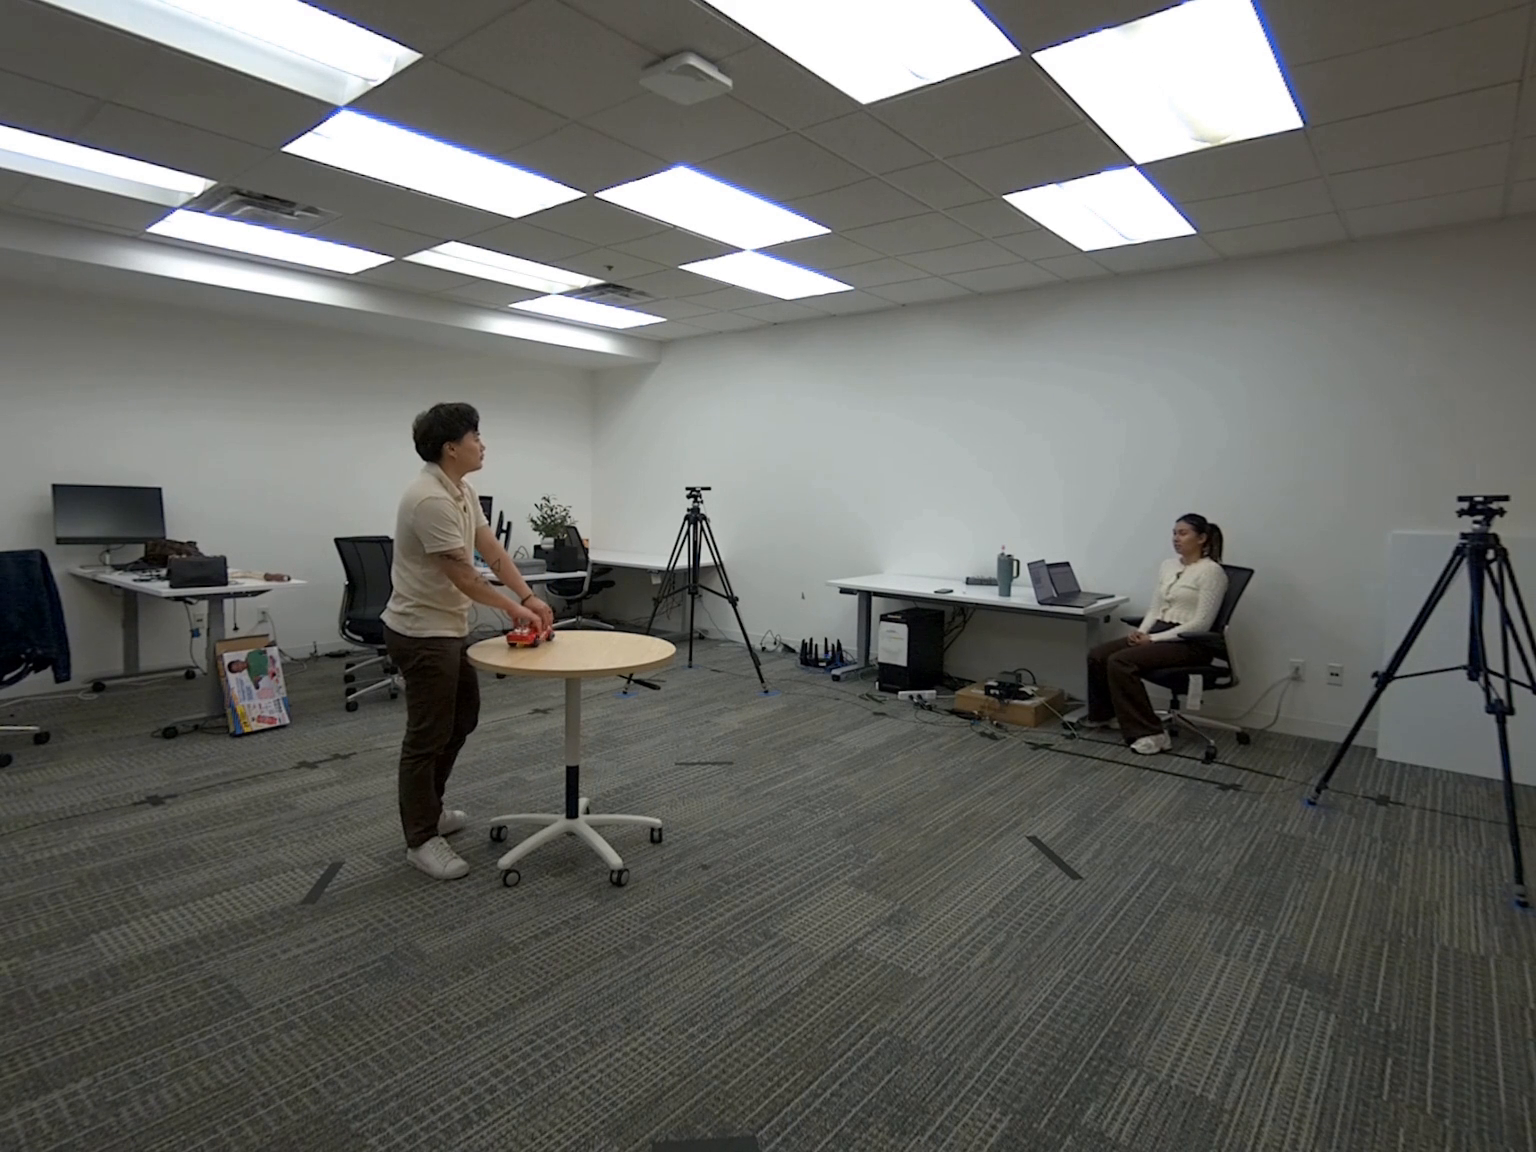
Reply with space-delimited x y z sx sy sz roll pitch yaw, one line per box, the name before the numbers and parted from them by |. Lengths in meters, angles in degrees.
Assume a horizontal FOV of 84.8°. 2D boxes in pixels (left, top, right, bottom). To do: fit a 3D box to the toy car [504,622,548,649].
toy car | -0.933 0.232 3.230 0.131 0.084 0.250 2 -6 7
